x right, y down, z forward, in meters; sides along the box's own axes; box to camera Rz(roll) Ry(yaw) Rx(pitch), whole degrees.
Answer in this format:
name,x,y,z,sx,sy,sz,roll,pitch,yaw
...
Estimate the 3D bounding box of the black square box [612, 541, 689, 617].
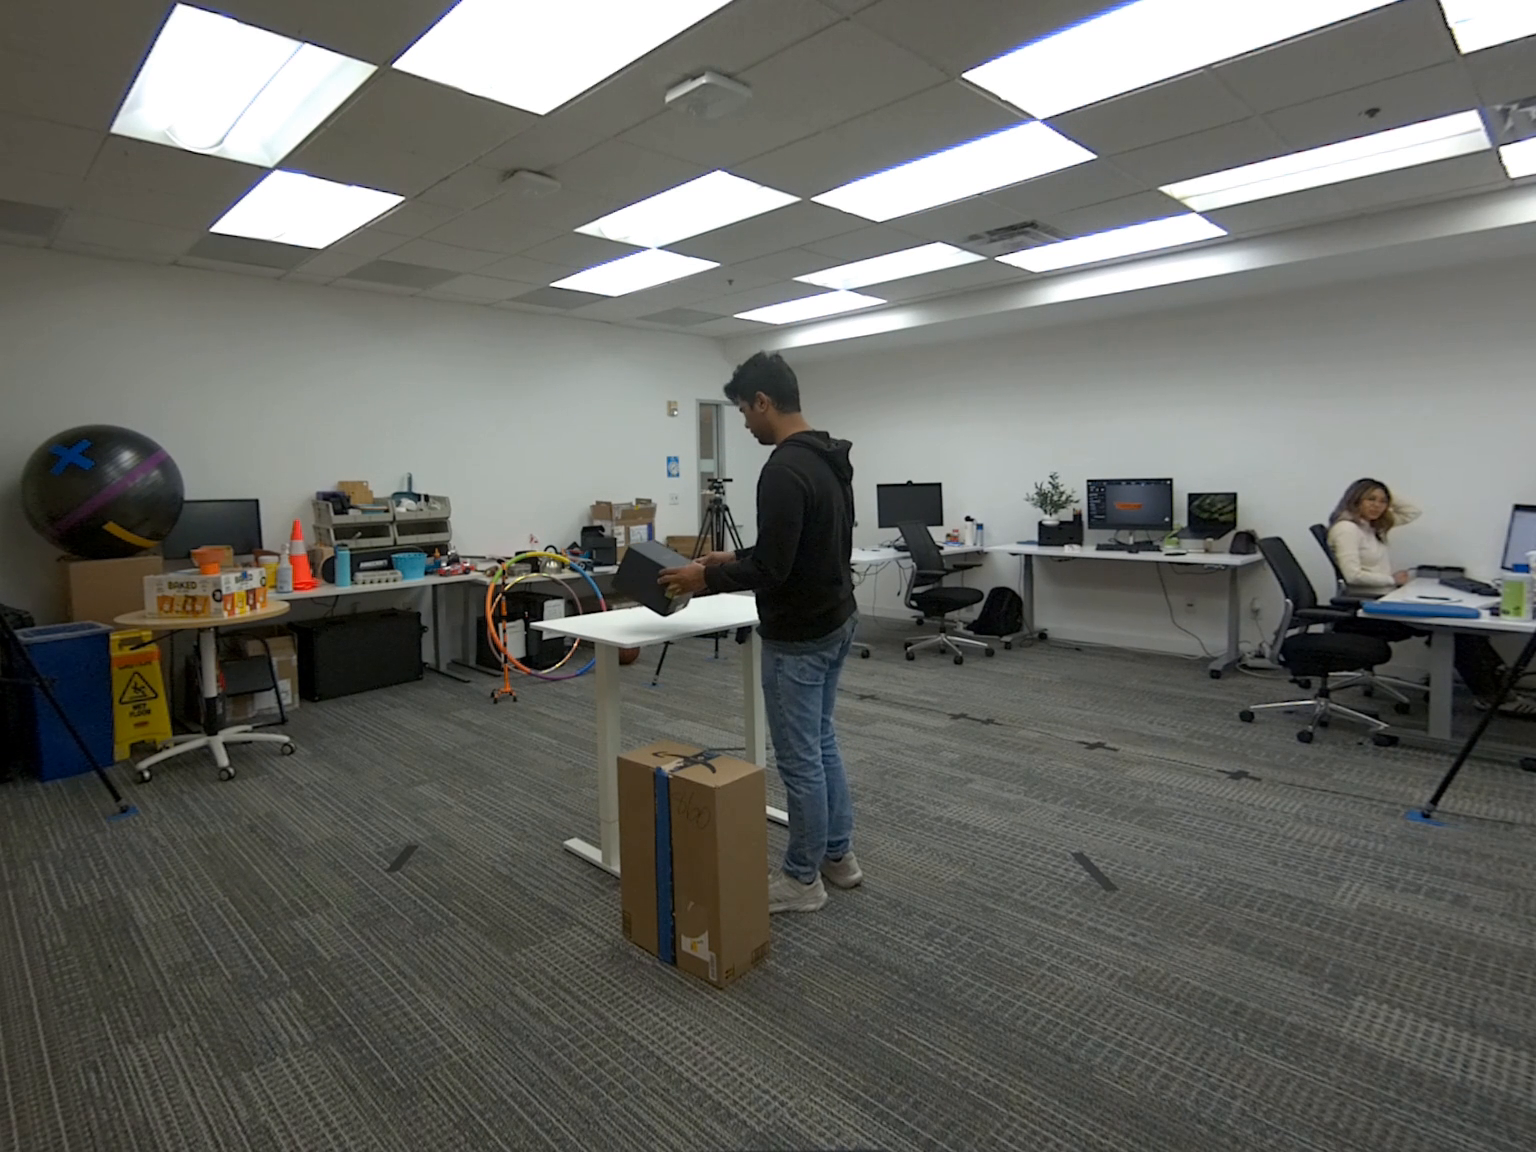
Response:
name,x,y,z,sx,sy,sz,roll,pitch,yaw
black square box,-0.356,0.002,2.905,0.220,0.155,0.226,21,12,12
